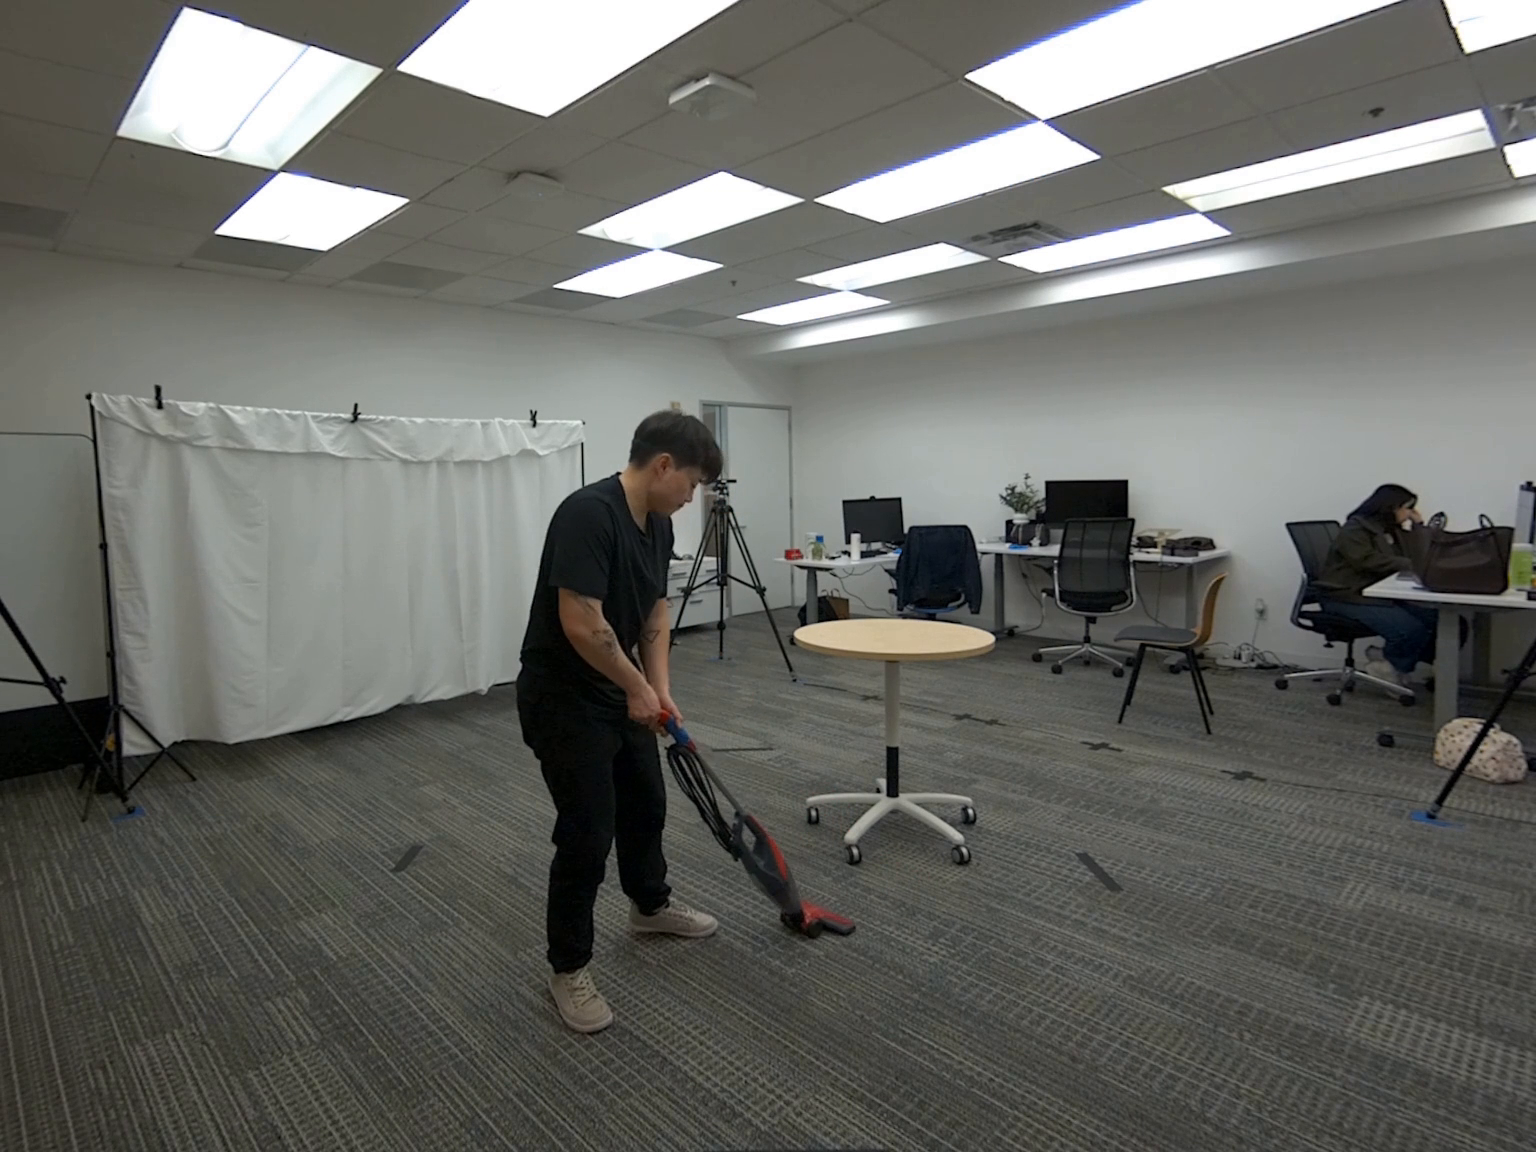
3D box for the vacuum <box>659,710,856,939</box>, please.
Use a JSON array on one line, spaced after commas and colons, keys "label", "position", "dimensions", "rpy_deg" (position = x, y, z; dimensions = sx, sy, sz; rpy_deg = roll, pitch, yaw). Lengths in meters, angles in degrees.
[{"label": "vacuum", "position": [-0.079, 0.715, 2.437], "dimensions": [0.260, 1.015, 0.144], "rpy_deg": [3, 44, 44]}]
